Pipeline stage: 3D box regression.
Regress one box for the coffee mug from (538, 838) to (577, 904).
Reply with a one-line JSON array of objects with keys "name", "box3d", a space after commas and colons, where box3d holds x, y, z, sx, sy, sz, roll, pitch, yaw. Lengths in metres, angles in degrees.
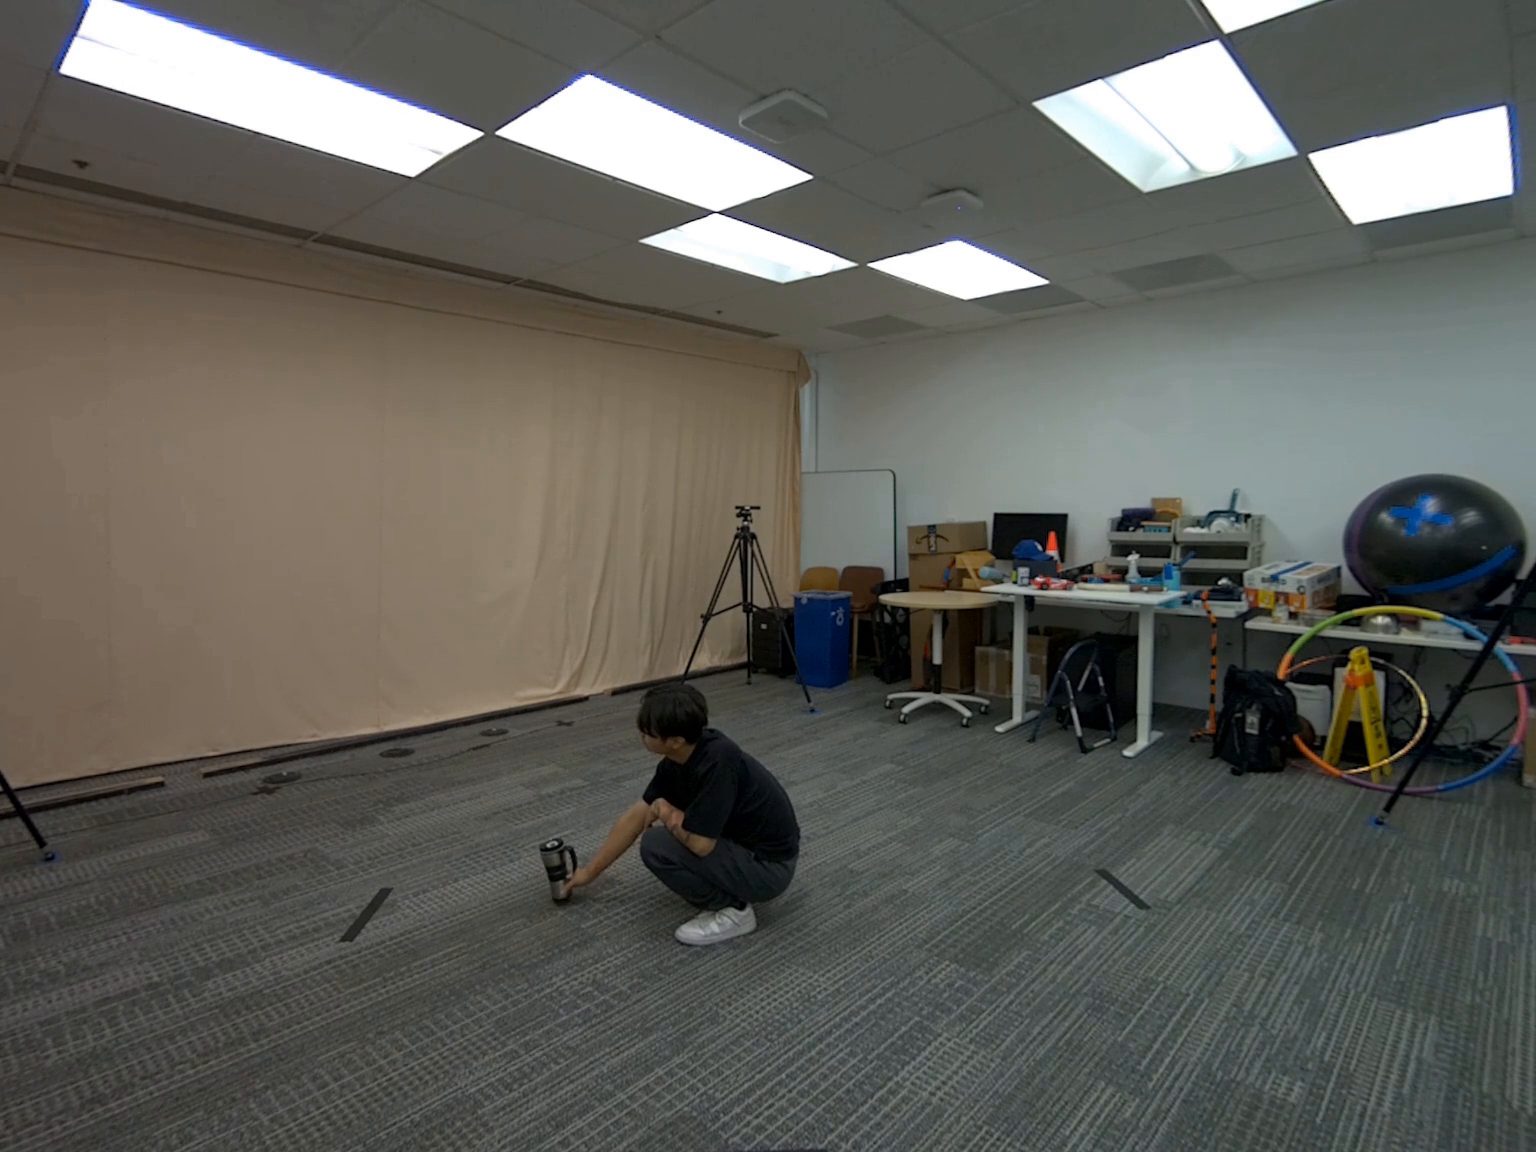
[{"name": "coffee mug", "box3d": [-0.733, 1.025, 2.948, 0.124, 0.203, 0.086, -11, -1, 18]}]
